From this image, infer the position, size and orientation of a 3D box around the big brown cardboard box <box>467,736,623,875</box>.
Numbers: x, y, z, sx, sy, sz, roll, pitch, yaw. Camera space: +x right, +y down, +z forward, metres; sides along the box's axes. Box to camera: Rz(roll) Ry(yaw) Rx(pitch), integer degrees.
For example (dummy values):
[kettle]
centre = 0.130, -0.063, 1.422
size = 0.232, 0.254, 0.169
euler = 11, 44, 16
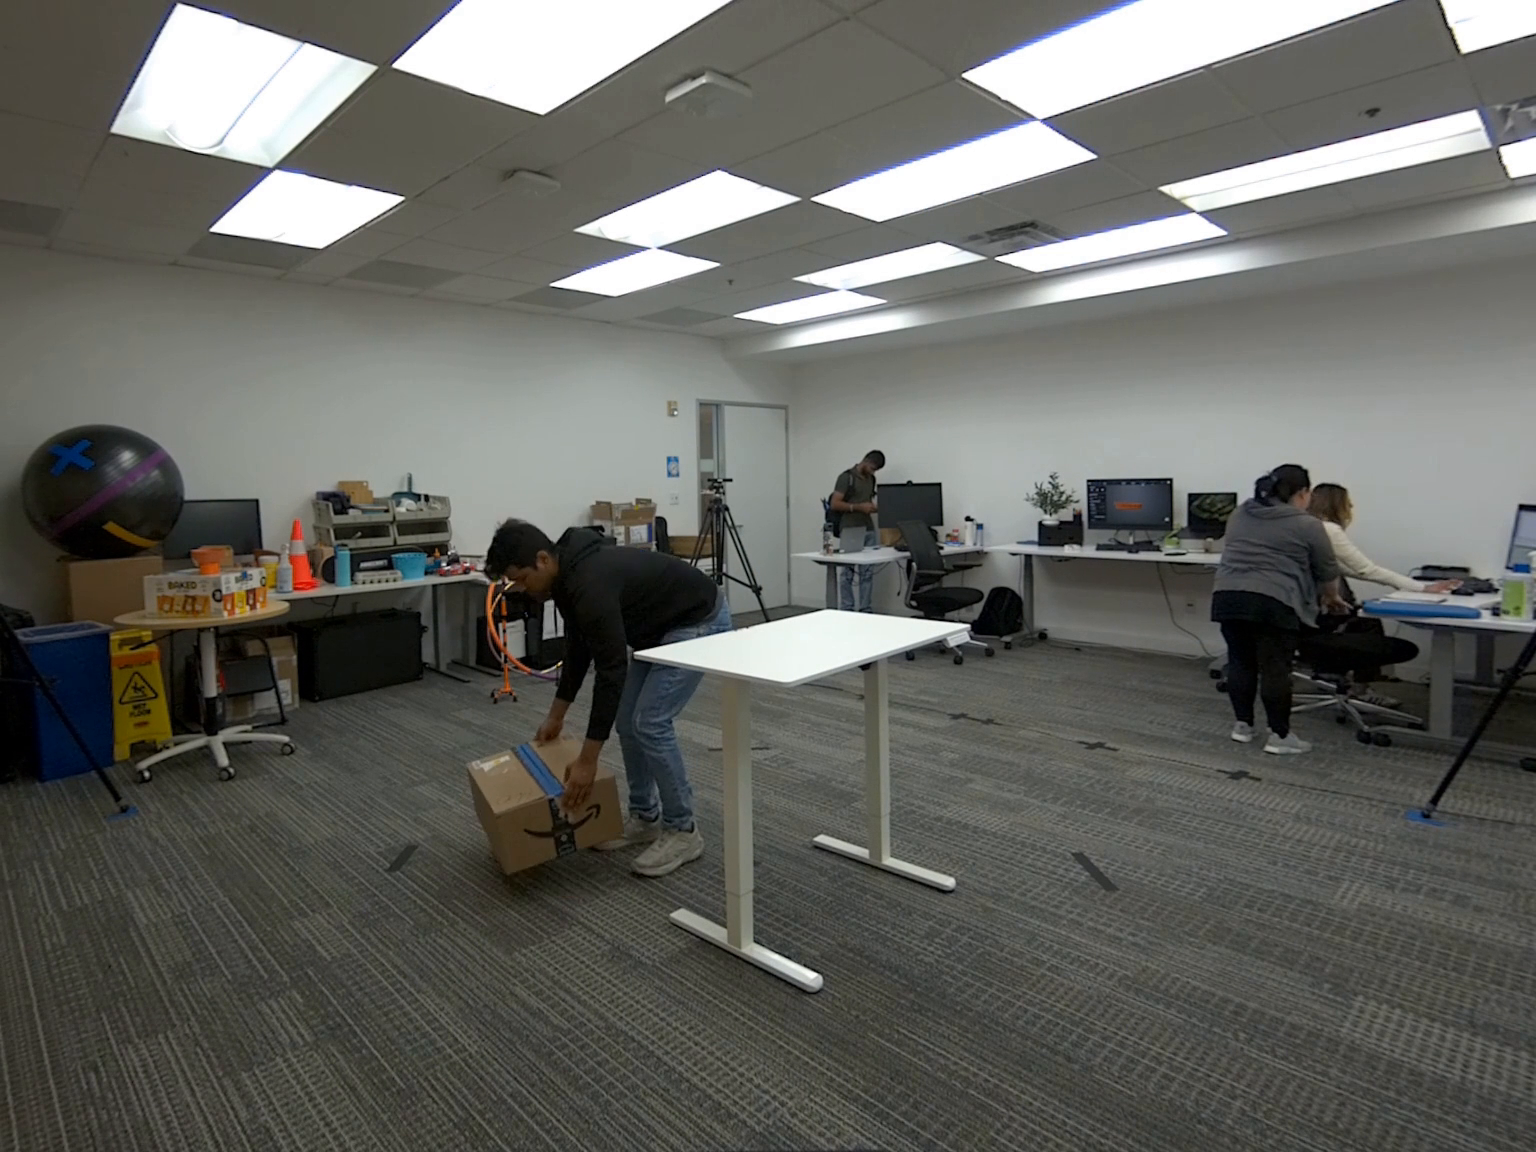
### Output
[big brown cardboard box]
centre = -0.833, 0.799, 3.111
size = 0.410, 0.231, 0.605
euler = -13, 12, -26
